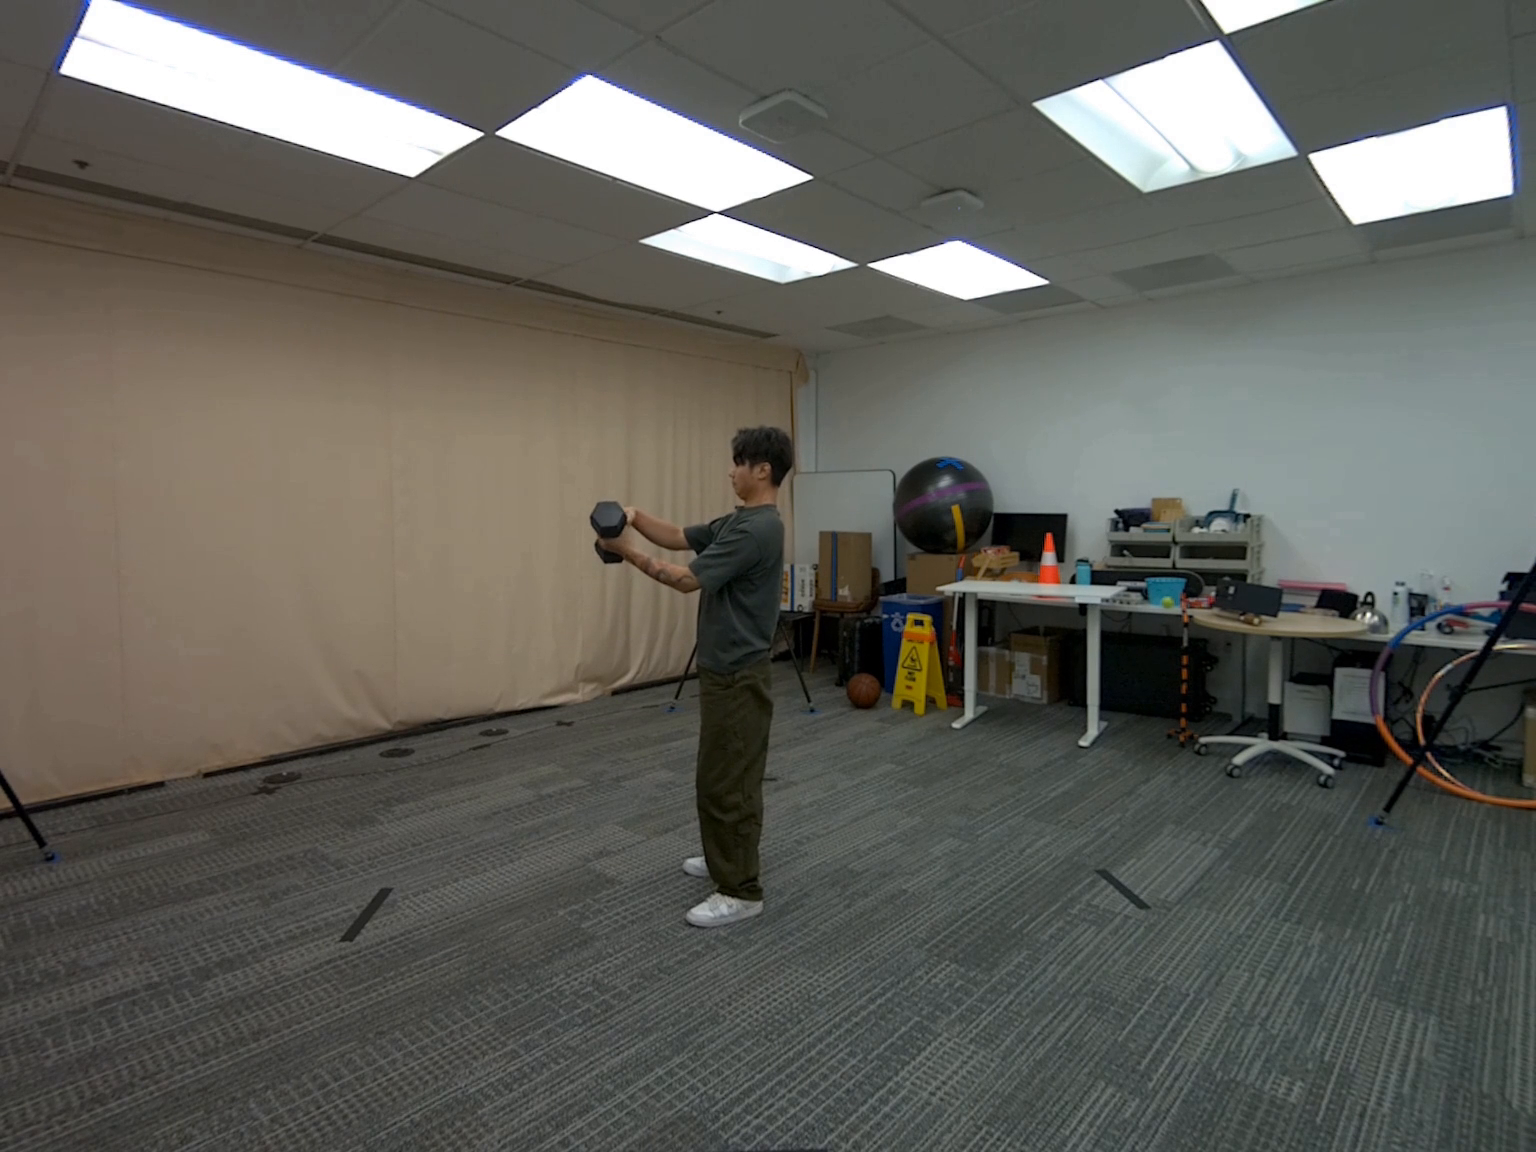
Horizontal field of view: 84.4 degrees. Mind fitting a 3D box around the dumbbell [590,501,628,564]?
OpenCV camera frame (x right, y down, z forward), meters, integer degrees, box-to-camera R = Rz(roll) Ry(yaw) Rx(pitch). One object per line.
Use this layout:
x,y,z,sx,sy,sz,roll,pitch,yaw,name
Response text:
-0.542,-0.137,2.892,0.109,0.123,0.291,23,-25,3,dumbbell
